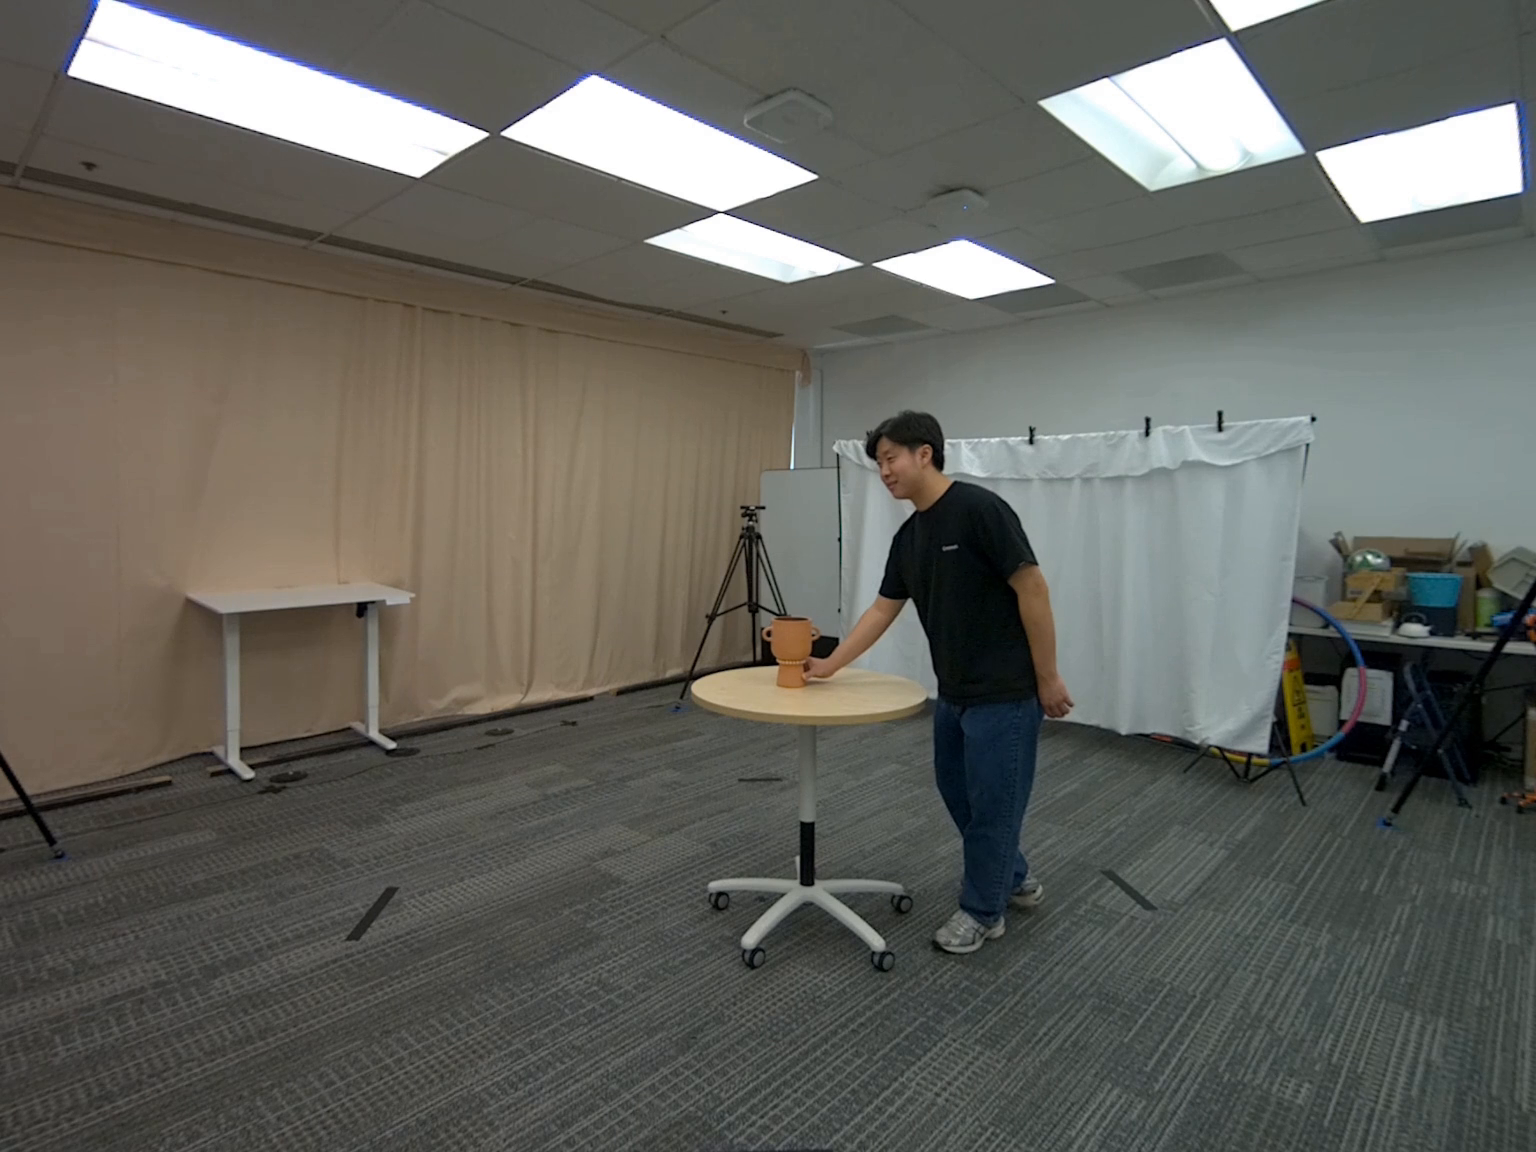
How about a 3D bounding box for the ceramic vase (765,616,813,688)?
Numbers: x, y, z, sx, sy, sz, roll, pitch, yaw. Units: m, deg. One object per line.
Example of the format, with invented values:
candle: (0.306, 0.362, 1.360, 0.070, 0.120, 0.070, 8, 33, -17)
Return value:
ceramic vase: (0.083, 0.254, 2.800, 0.163, 0.219, 0.131, 1, 2, 27)
